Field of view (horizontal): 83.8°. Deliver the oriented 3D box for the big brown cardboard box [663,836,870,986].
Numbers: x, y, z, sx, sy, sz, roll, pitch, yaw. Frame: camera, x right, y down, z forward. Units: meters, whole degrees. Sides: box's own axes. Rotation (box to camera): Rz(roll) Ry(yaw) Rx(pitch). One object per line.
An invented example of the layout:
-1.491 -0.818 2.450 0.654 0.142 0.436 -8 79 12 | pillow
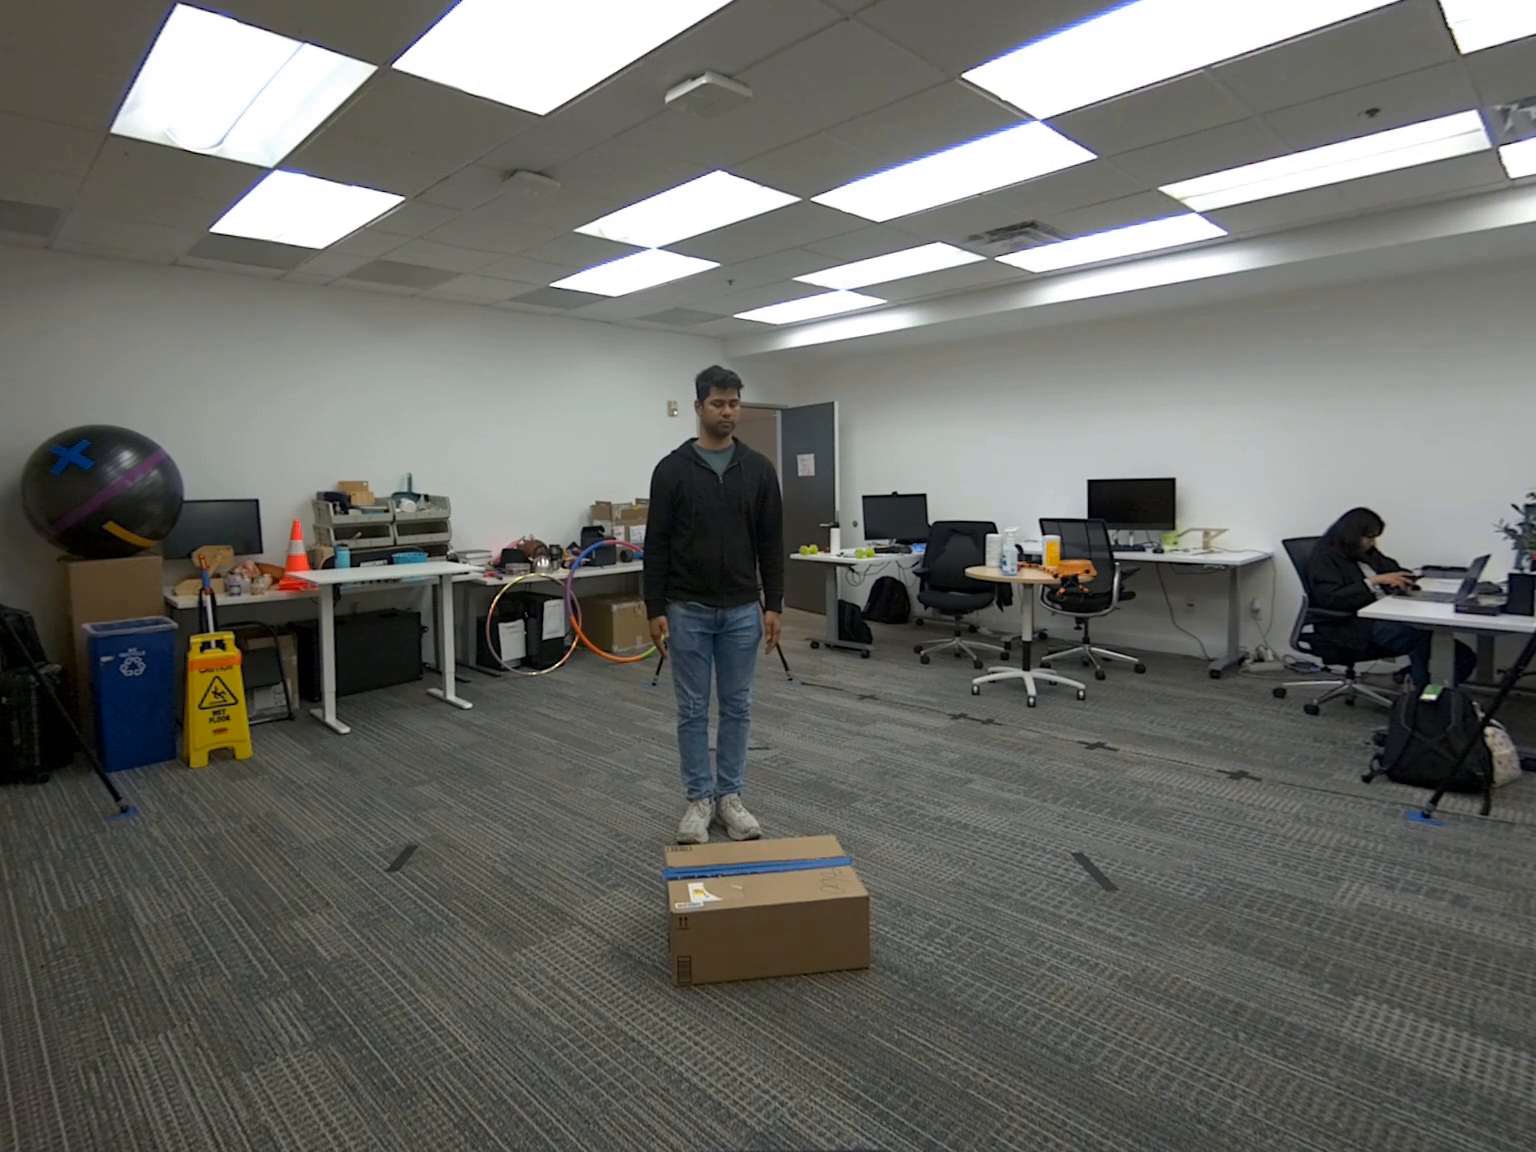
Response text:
-0.024 0.992 2.589 0.584 0.232 0.423 -1 6 -8 | big brown cardboard box
